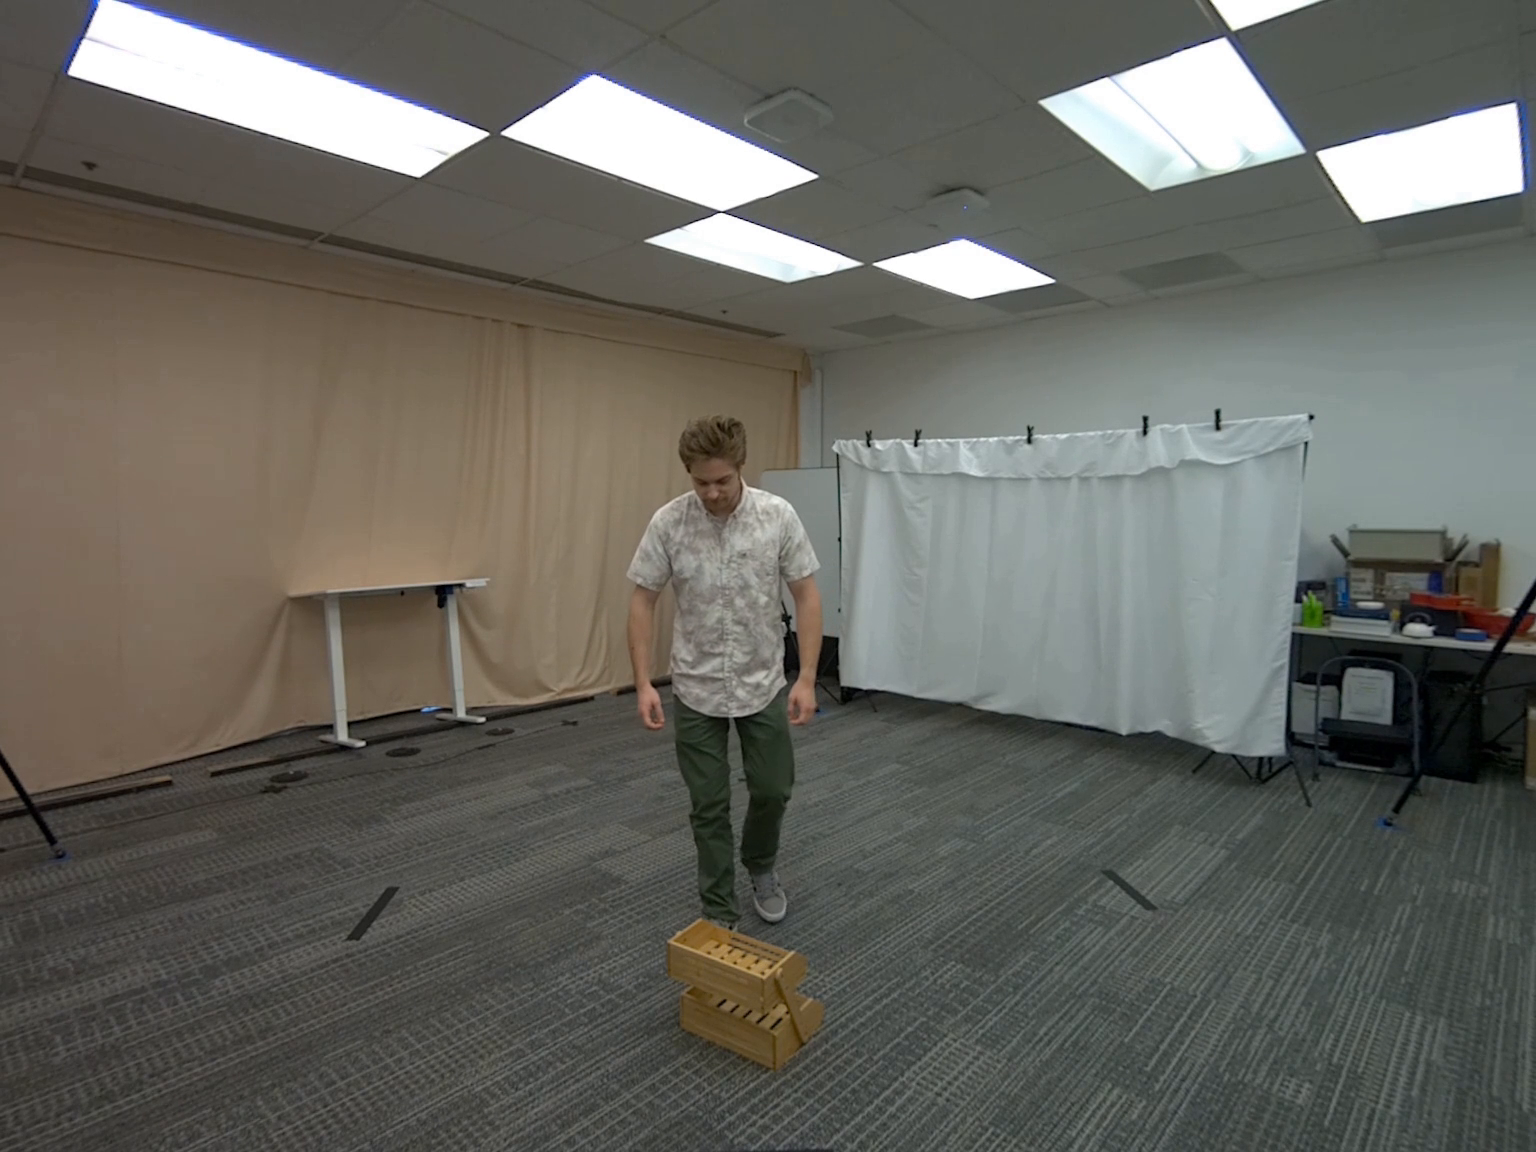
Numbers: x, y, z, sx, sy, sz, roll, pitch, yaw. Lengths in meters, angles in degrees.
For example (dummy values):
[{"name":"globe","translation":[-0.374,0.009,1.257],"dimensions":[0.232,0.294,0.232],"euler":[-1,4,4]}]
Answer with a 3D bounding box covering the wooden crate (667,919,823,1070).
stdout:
[{"name":"wooden crate","translation":[-0.055,1.068,2.237],"dimensions":[0.334,0.272,0.294],"euler":[2,5,33]}]
